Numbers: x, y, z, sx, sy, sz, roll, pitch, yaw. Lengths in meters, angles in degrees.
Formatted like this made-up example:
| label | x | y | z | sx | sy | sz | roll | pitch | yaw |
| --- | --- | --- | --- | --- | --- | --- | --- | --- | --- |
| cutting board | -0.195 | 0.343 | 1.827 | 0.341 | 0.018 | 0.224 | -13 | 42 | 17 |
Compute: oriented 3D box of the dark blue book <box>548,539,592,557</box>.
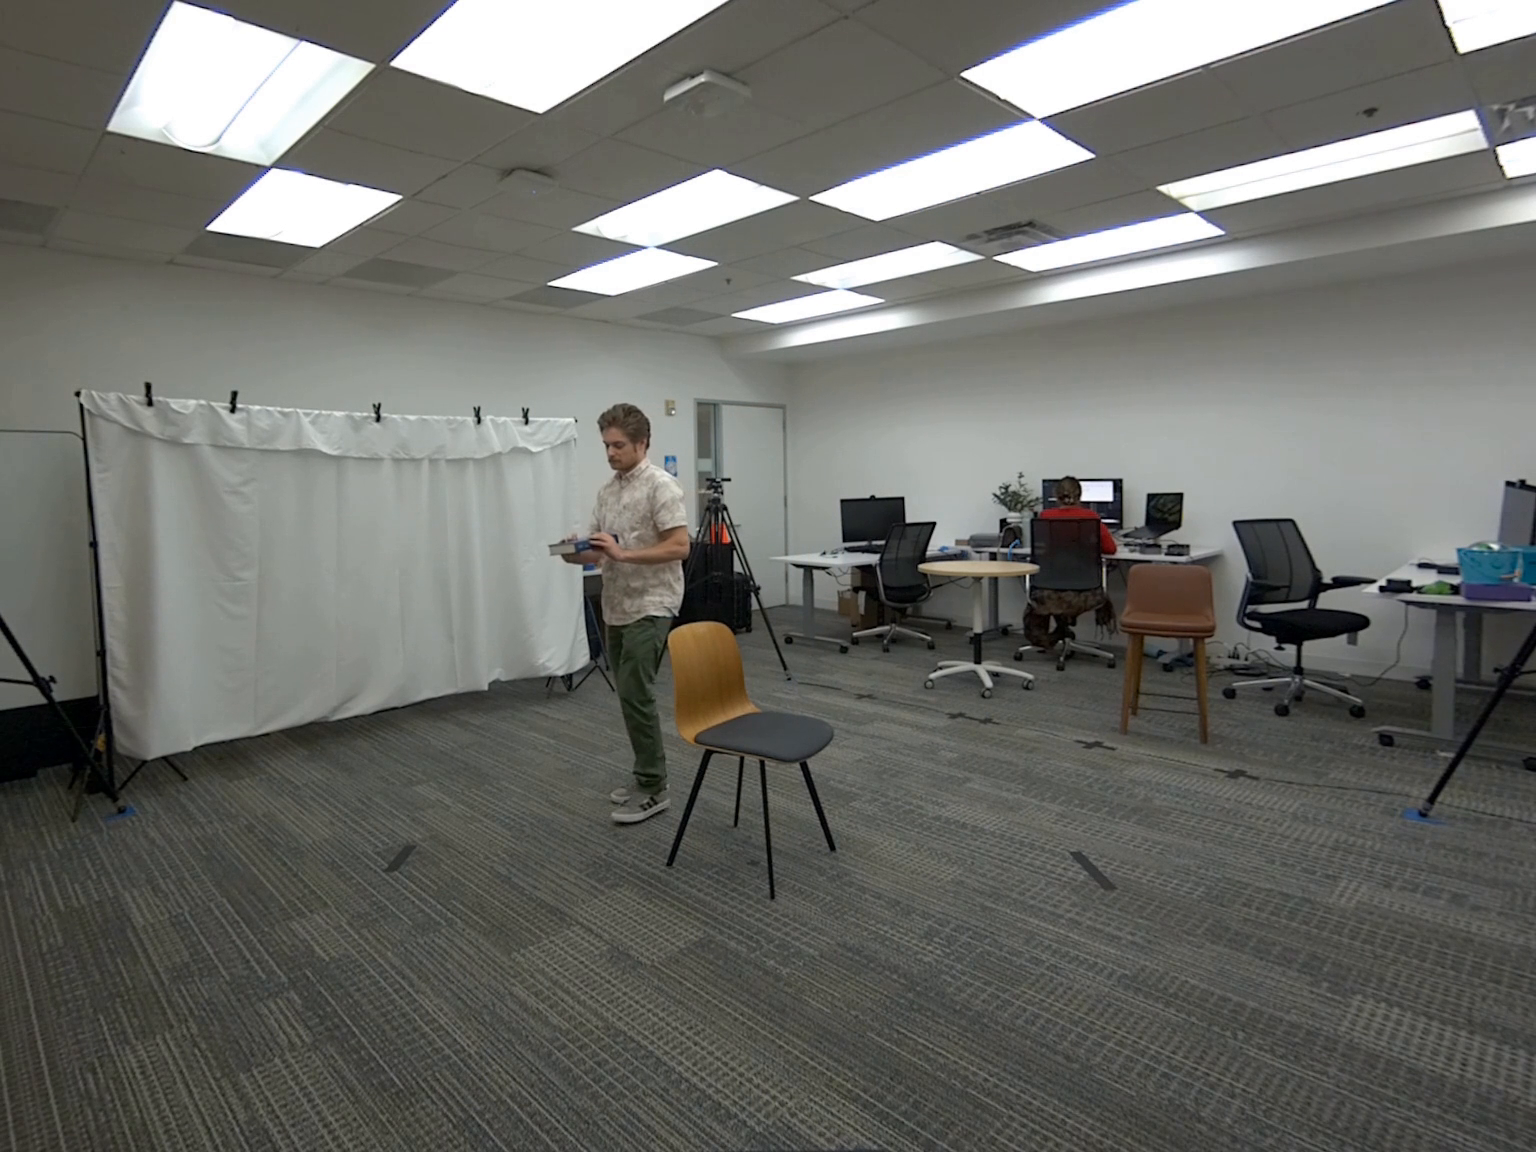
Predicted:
| label | x | y | z | sx | sy | sz | roll | pitch | yaw |
| --- | --- | --- | --- | --- | --- | --- | --- | --- | --- |
| dark blue book | -0.762 | -0.125 | 3.529 | 0.167 | 0.045 | 0.240 | -4 | 7 | 36 |
